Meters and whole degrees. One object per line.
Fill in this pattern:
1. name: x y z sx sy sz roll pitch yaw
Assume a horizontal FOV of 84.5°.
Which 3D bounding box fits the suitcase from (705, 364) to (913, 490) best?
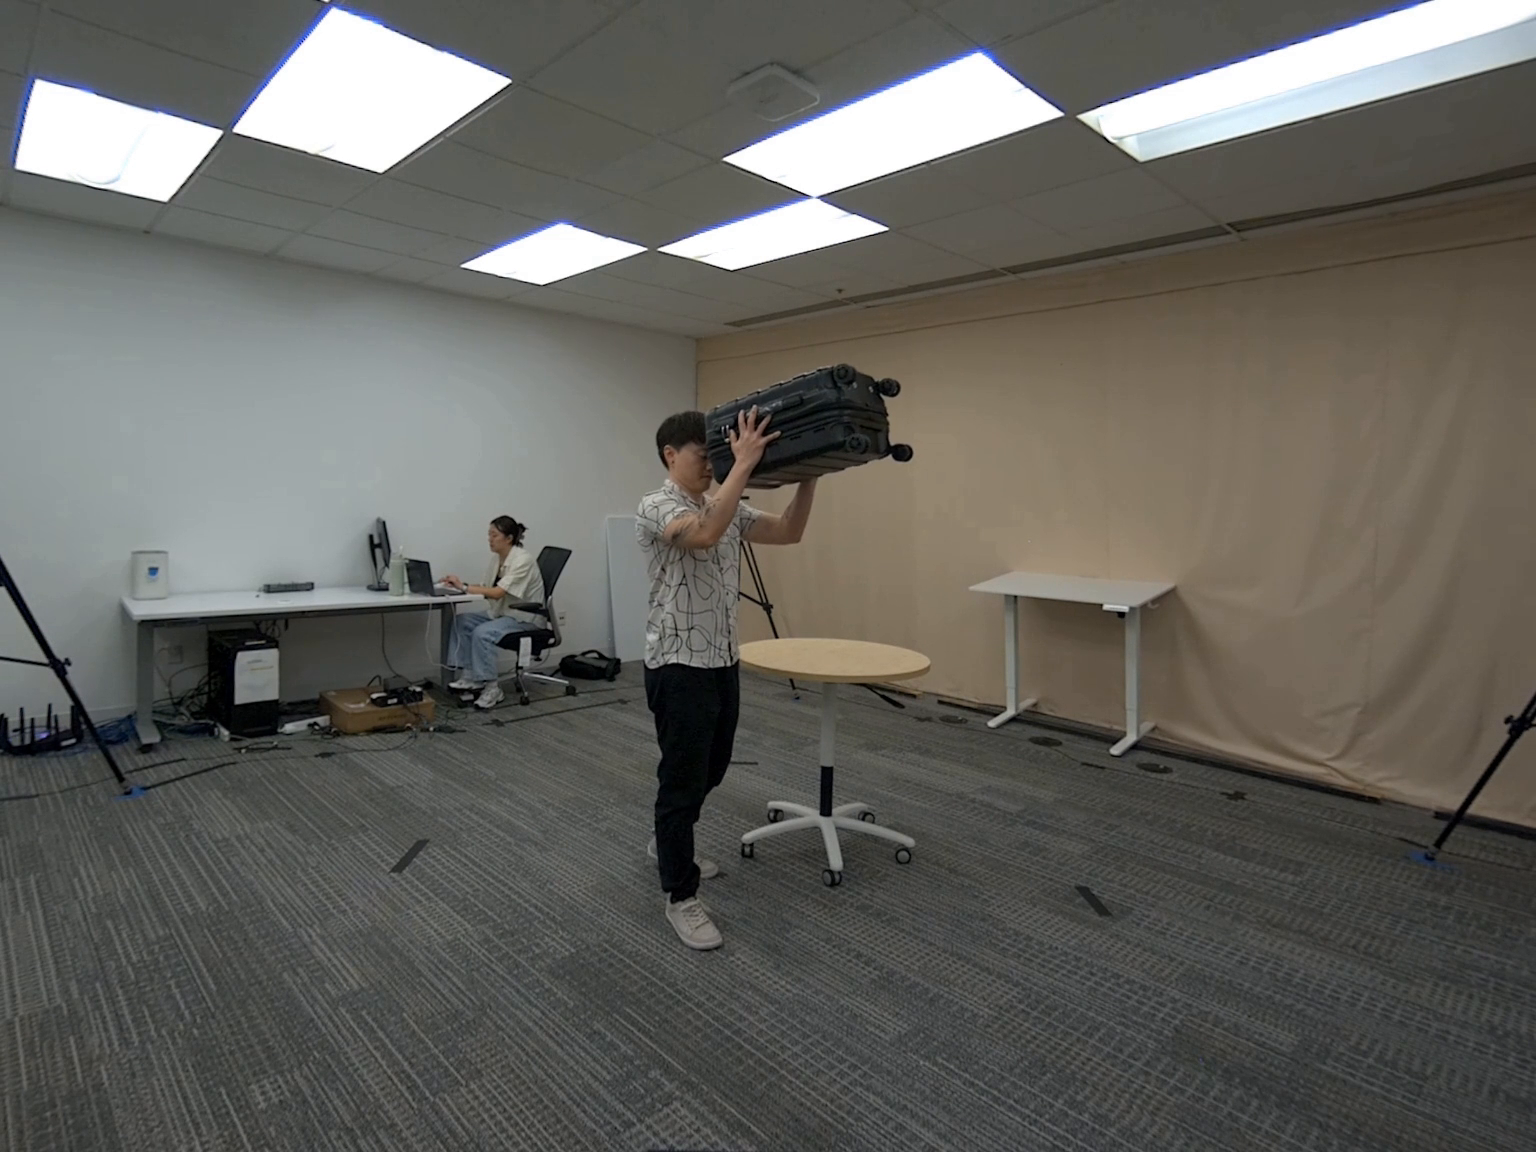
1. suitcase: 0.094 -0.437 2.566 0.559 0.249 0.367 -10 -3 34
